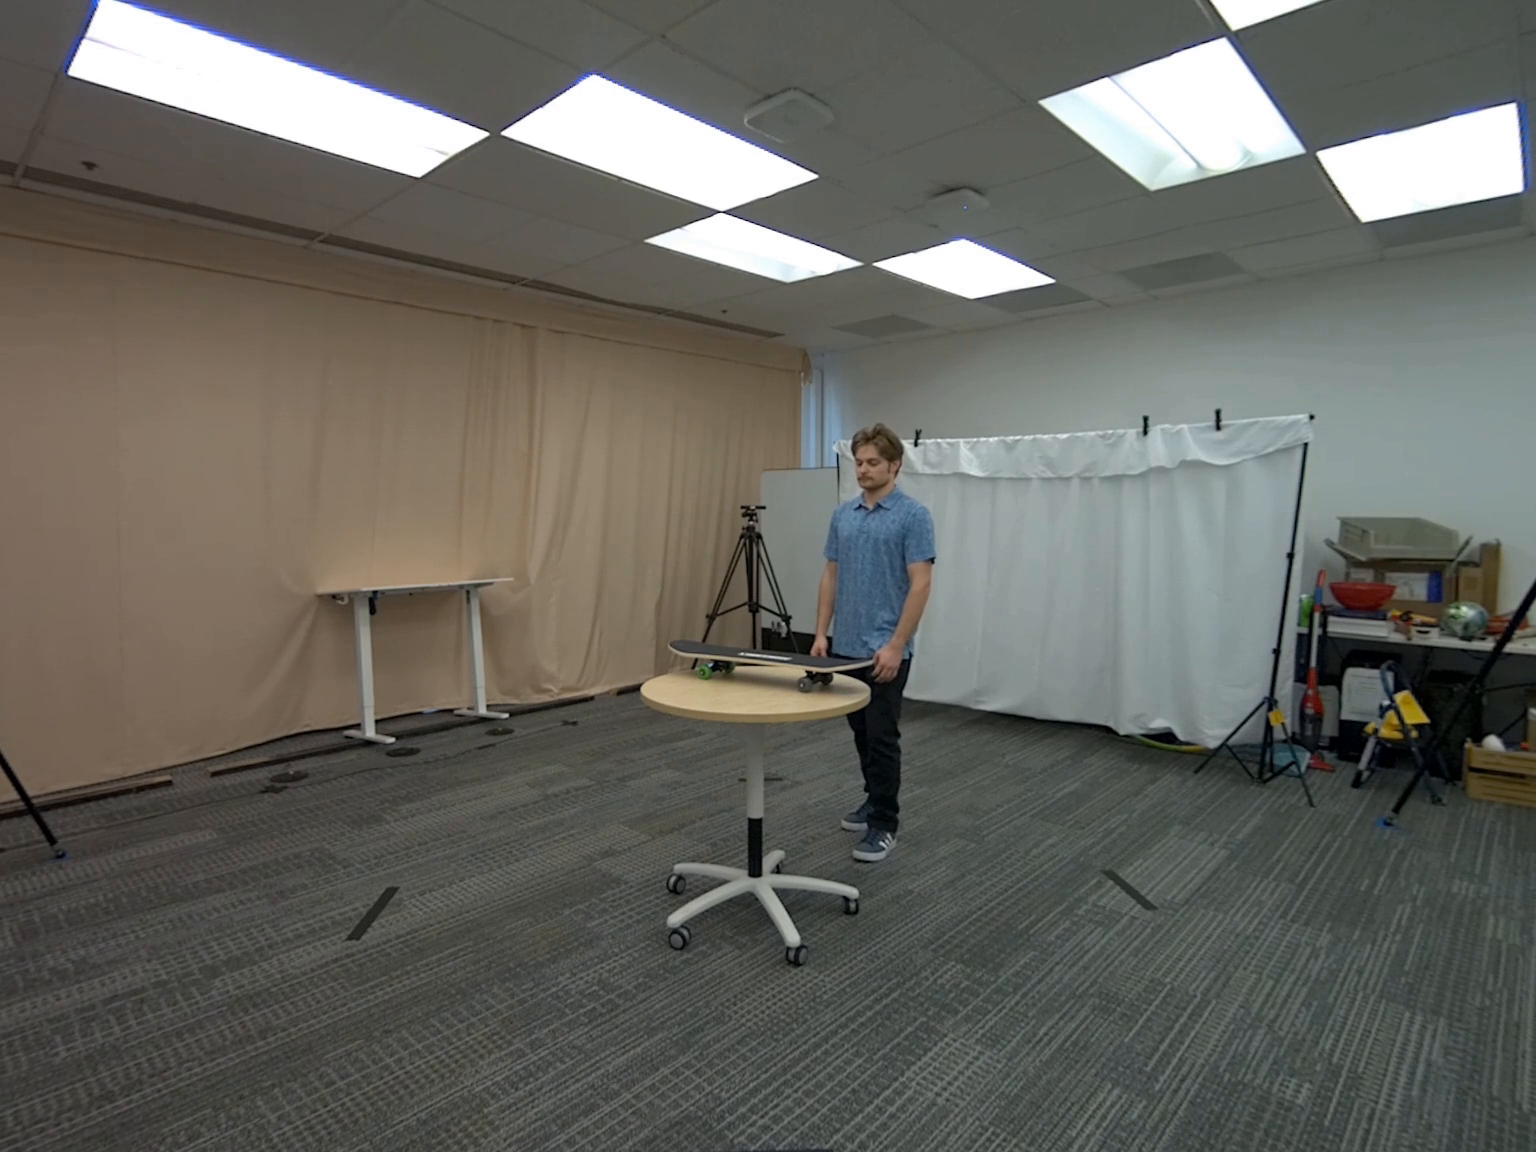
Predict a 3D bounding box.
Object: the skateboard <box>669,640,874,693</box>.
[{"bbox_3d":[-0.010,0.321,2.908,0.809,0.110,0.188,4,5,33],"label":"skateboard"}]
